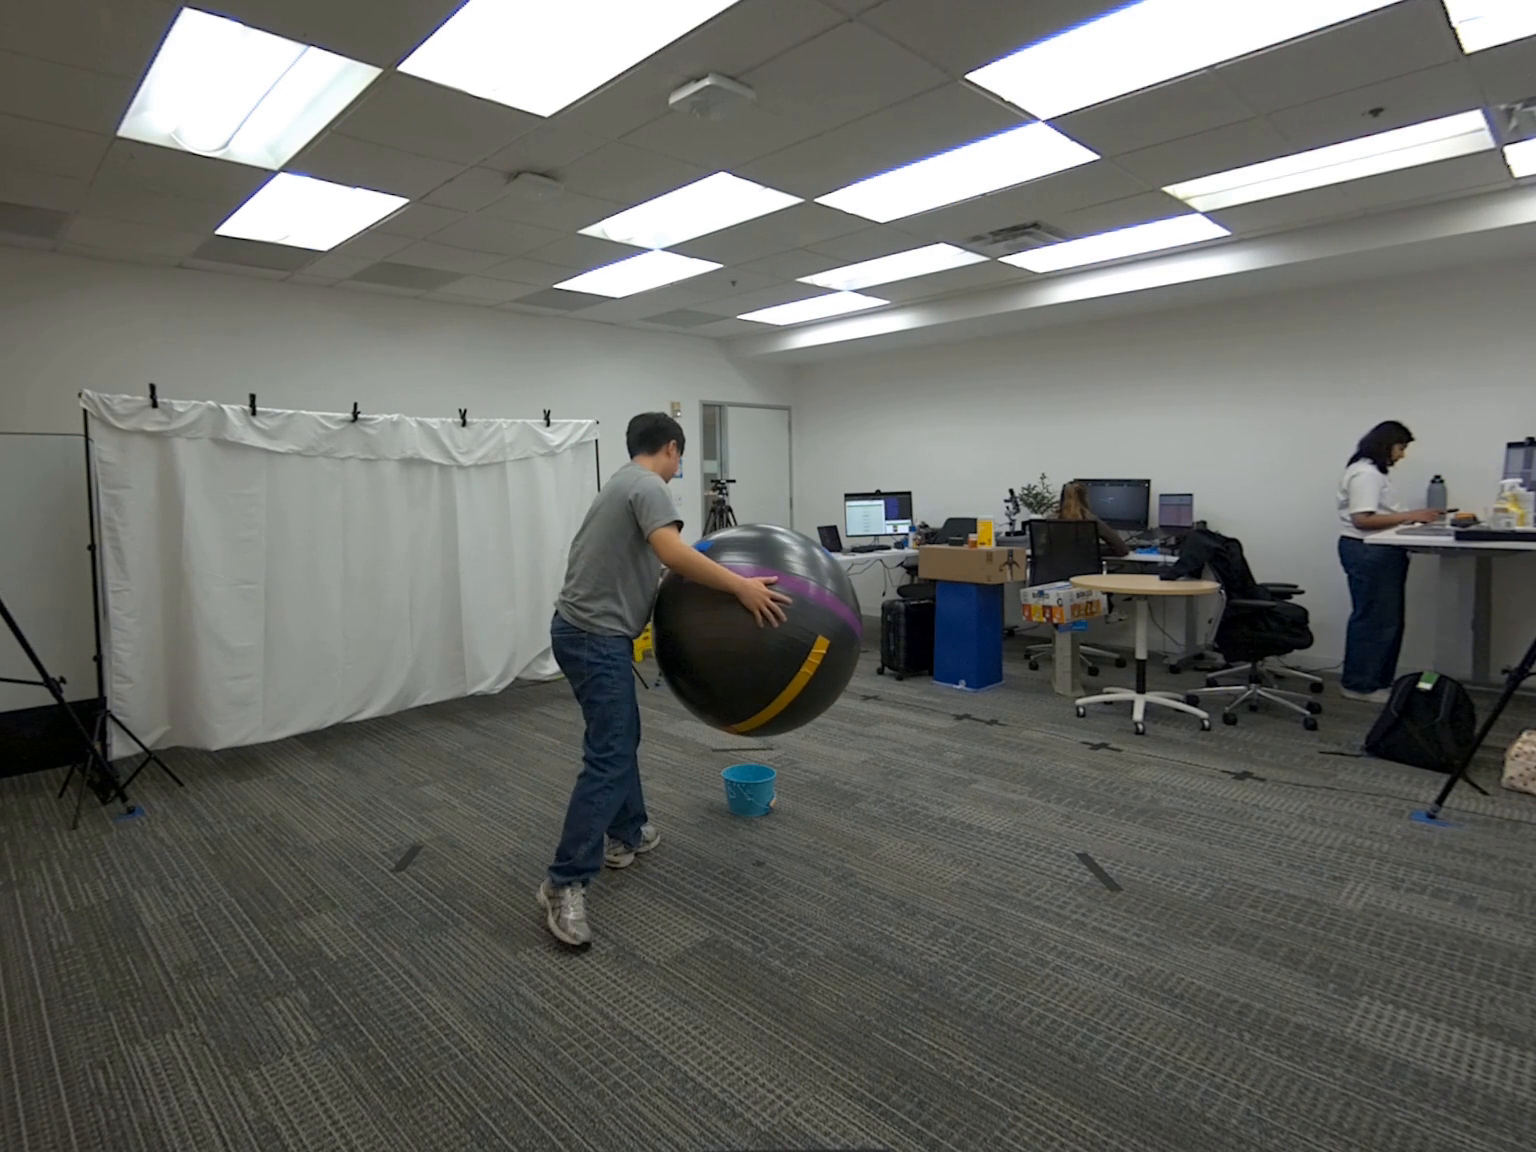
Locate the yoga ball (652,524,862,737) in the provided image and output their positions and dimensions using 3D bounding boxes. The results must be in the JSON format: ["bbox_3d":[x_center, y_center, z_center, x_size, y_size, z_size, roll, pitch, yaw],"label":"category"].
[{"bbox_3d":[-0.048,0.200,3.082,0.757,0.755,0.762,-1,5,-2],"label":"yoga ball"}]
